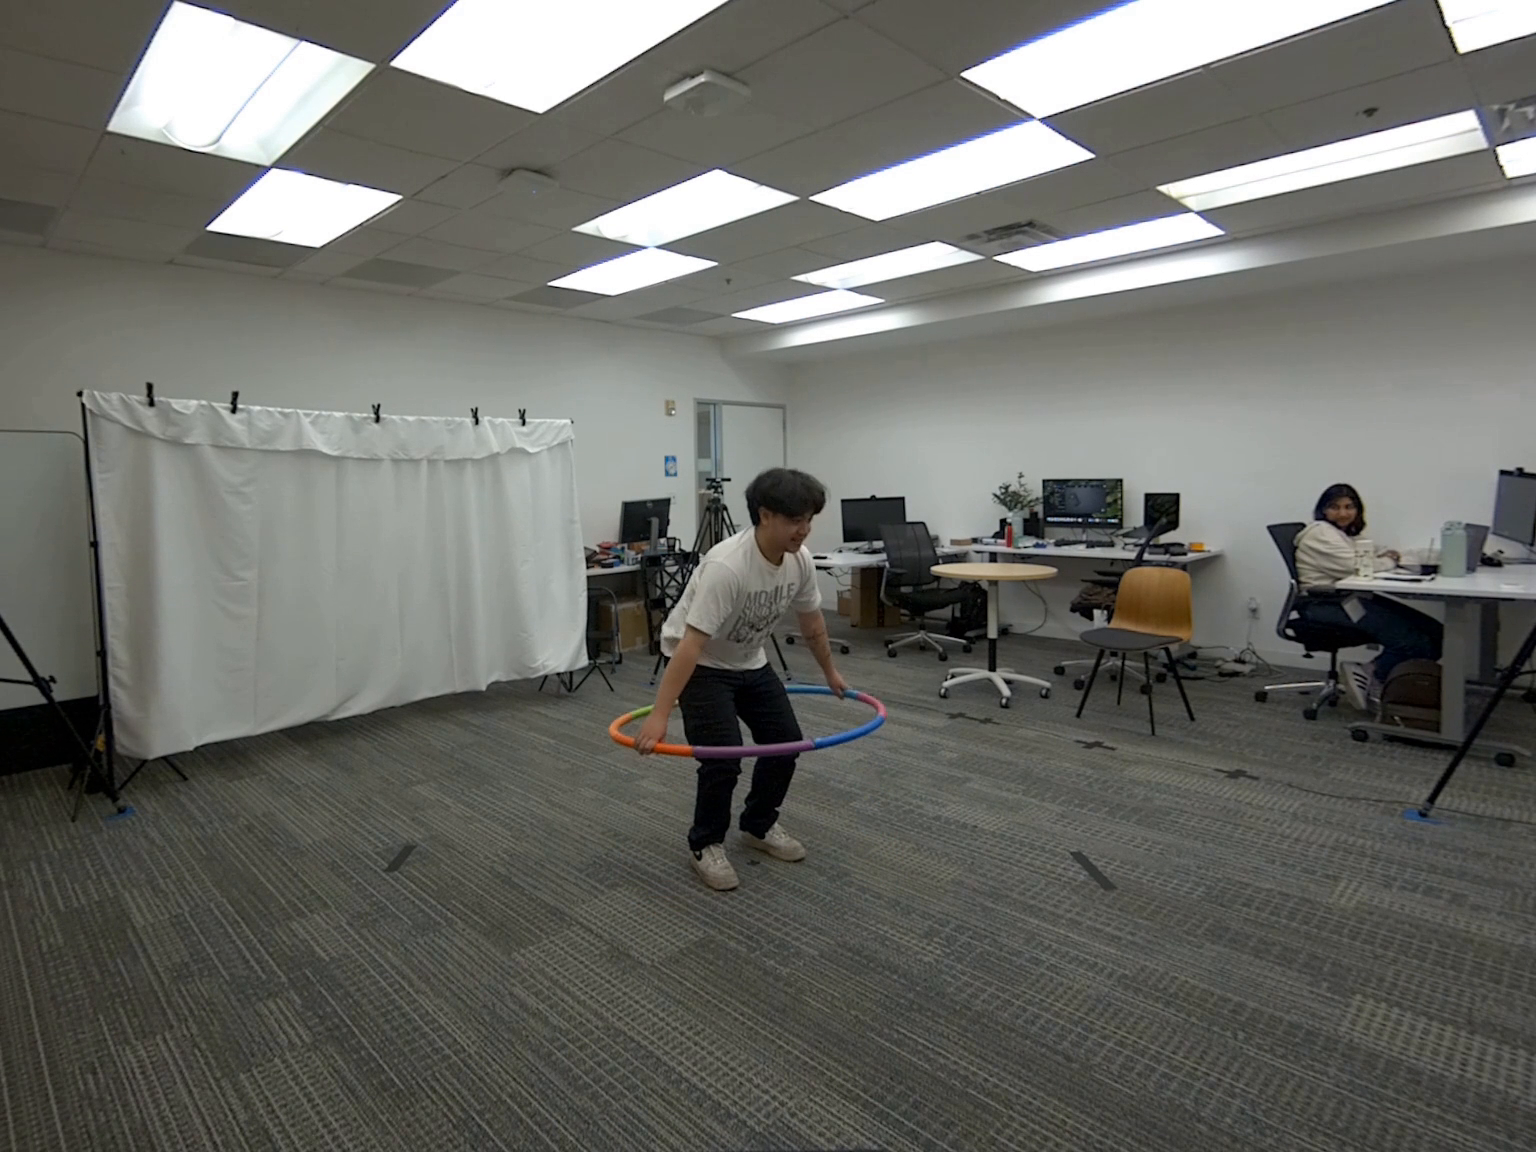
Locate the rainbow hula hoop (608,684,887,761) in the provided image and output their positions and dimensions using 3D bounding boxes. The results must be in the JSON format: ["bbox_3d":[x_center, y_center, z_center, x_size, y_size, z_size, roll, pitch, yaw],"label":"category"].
[{"bbox_3d":[-0.075,0.503,3.056,0.985,0.051,0.987,-5,3,-2],"label":"rainbow hula hoop"}]
